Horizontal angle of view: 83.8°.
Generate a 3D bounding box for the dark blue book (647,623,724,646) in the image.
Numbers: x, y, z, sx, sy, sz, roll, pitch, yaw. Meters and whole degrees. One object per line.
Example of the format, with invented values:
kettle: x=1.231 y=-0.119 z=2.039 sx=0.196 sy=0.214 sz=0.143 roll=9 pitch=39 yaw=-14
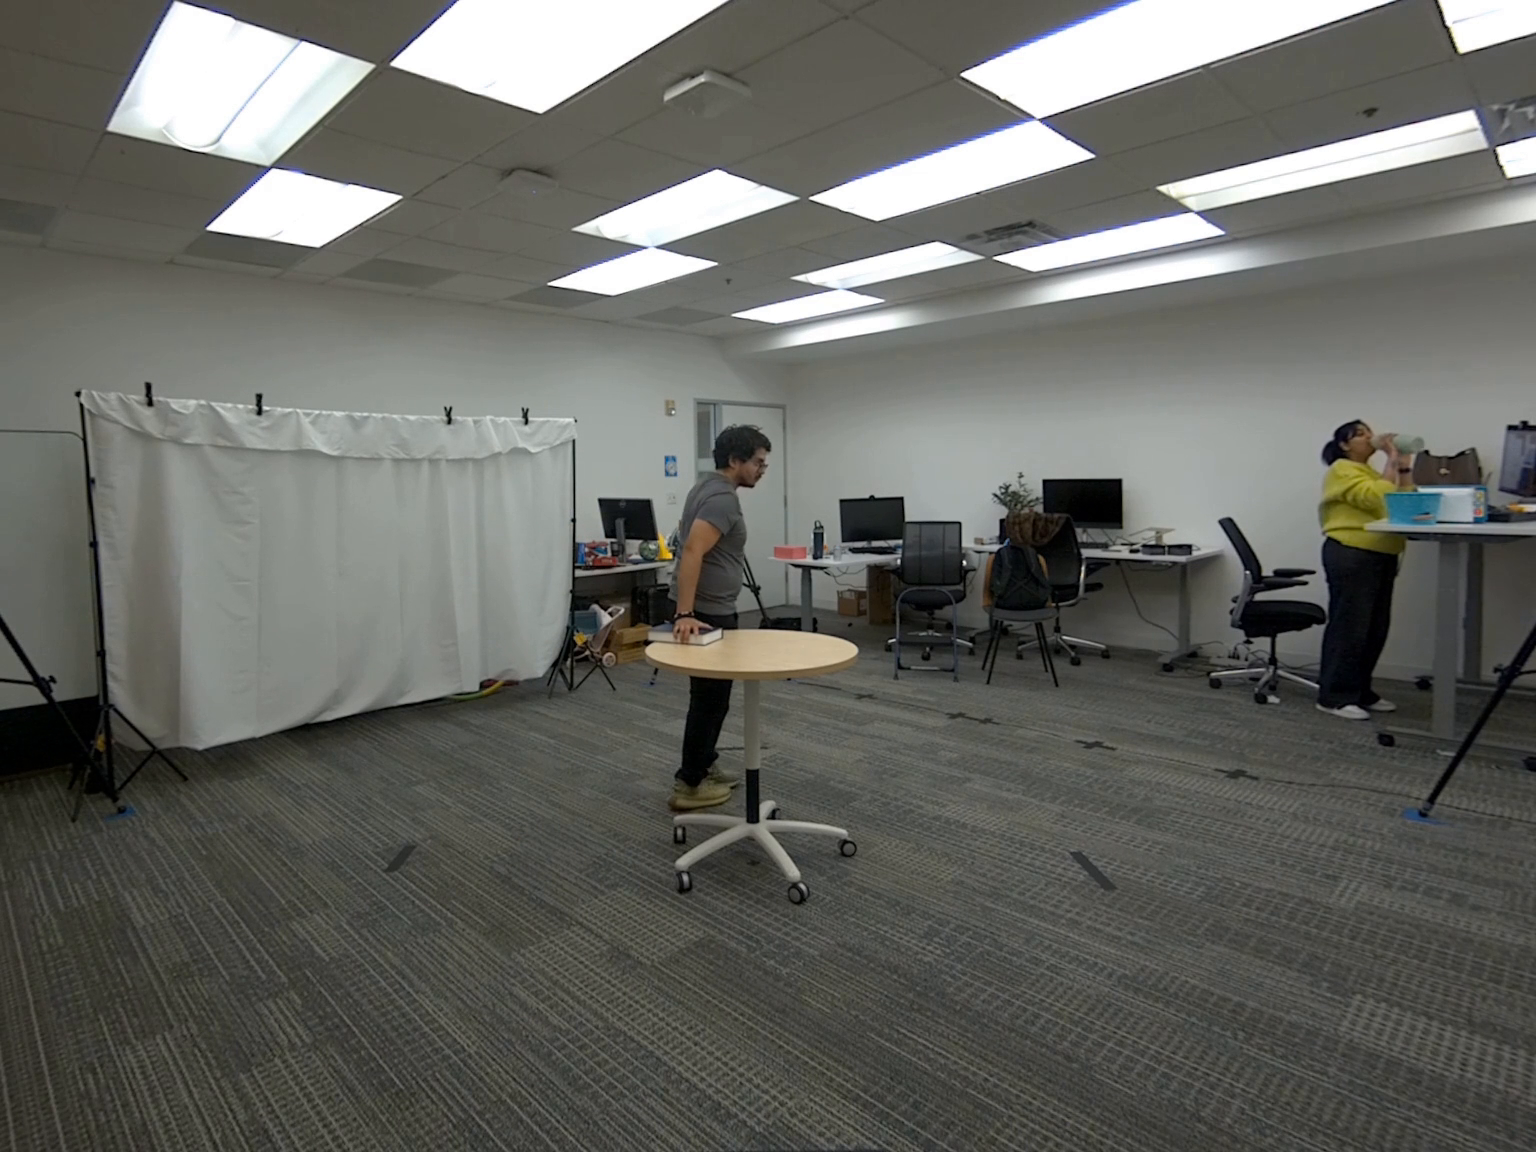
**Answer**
dark blue book: x=-0.313 y=0.225 z=3.270 sx=0.250 sy=0.045 sz=0.161 roll=4 pitch=7 yaw=22
